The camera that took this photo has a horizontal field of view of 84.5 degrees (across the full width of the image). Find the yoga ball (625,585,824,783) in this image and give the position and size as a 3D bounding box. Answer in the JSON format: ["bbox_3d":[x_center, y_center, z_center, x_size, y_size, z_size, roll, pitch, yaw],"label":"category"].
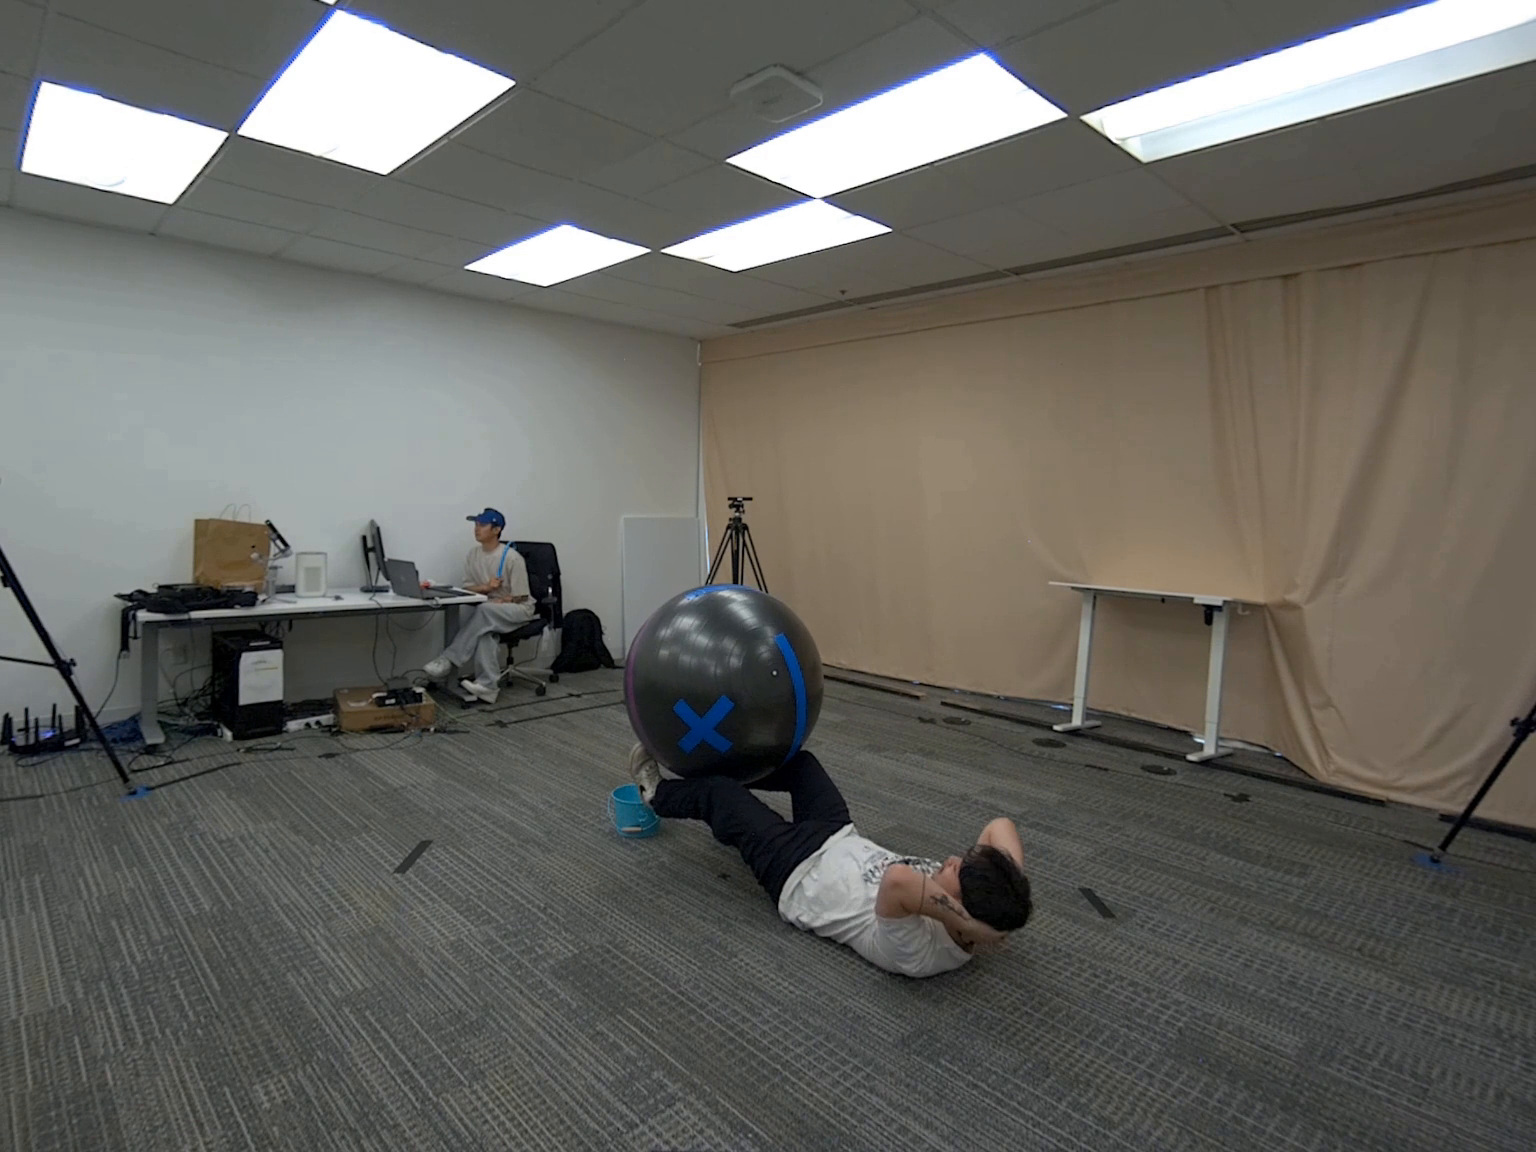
[{"bbox_3d":[-0.172,0.406,3.209,0.757,0.756,0.760,1,4,-1],"label":"yoga ball"}]
